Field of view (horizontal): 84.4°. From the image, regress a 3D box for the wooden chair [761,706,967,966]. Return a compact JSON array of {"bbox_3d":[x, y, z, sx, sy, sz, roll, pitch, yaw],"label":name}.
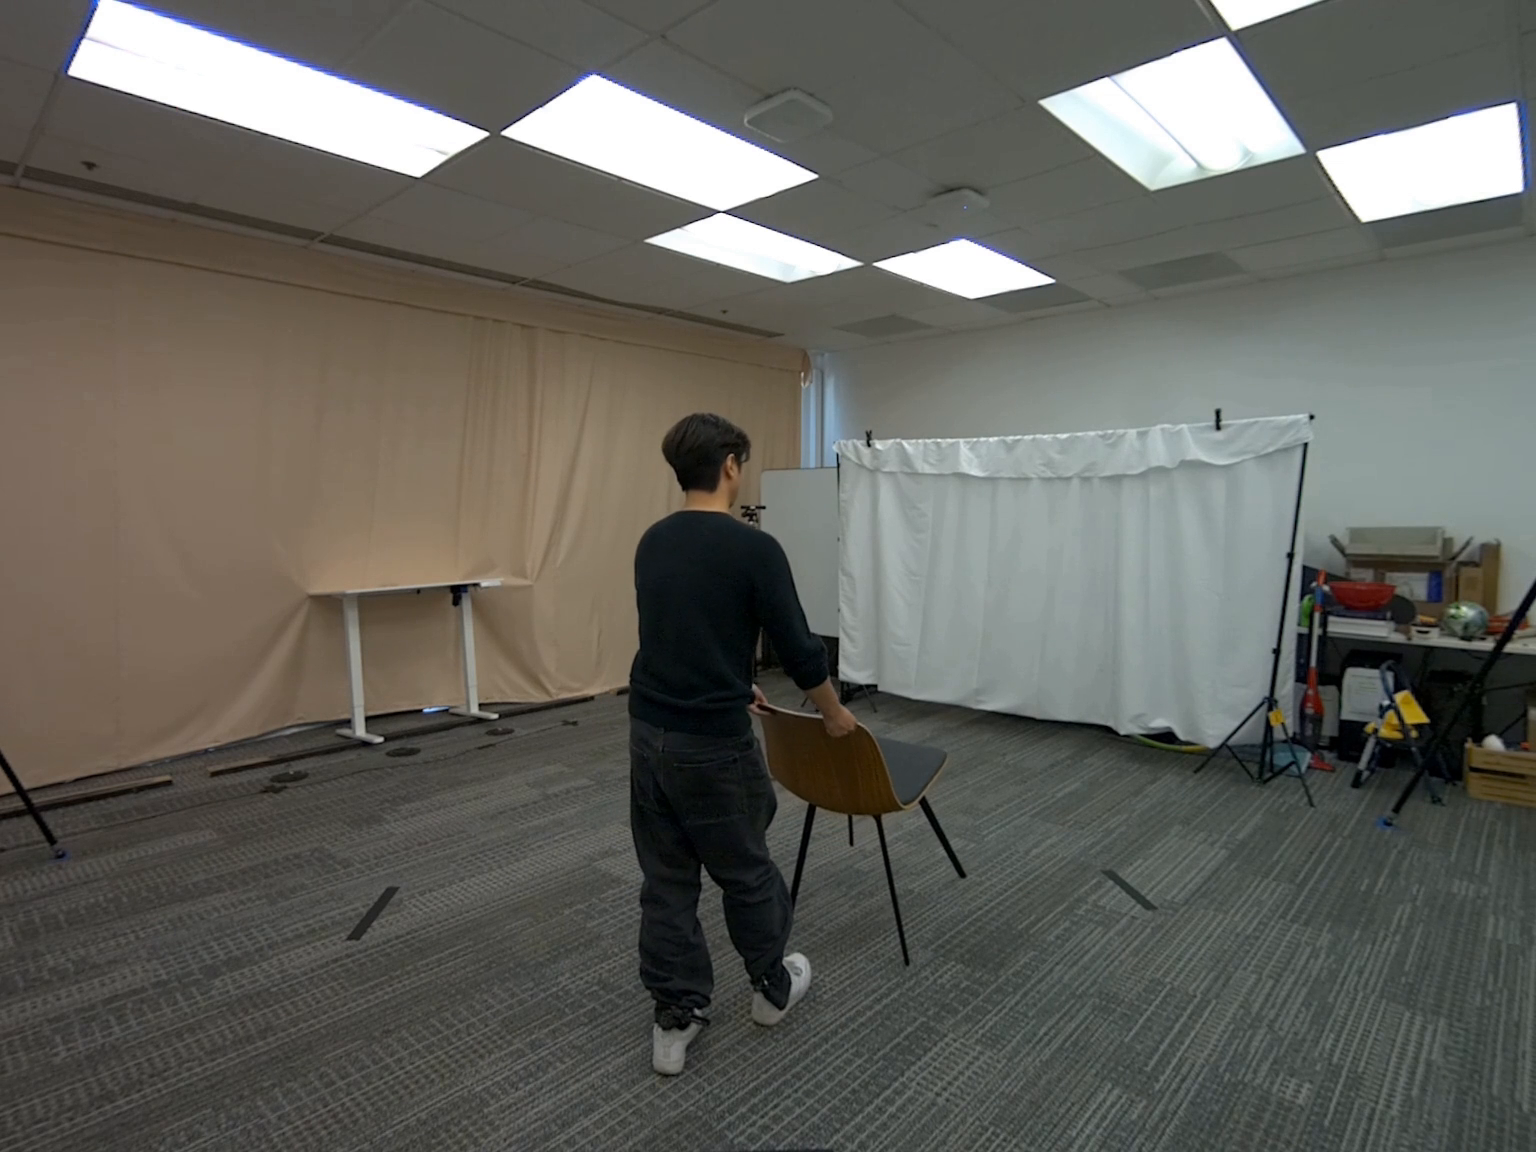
[{"bbox_3d":[0.310,0.692,2.743,0.494,0.864,0.514,3,24,38],"label":"wooden chair"}]
